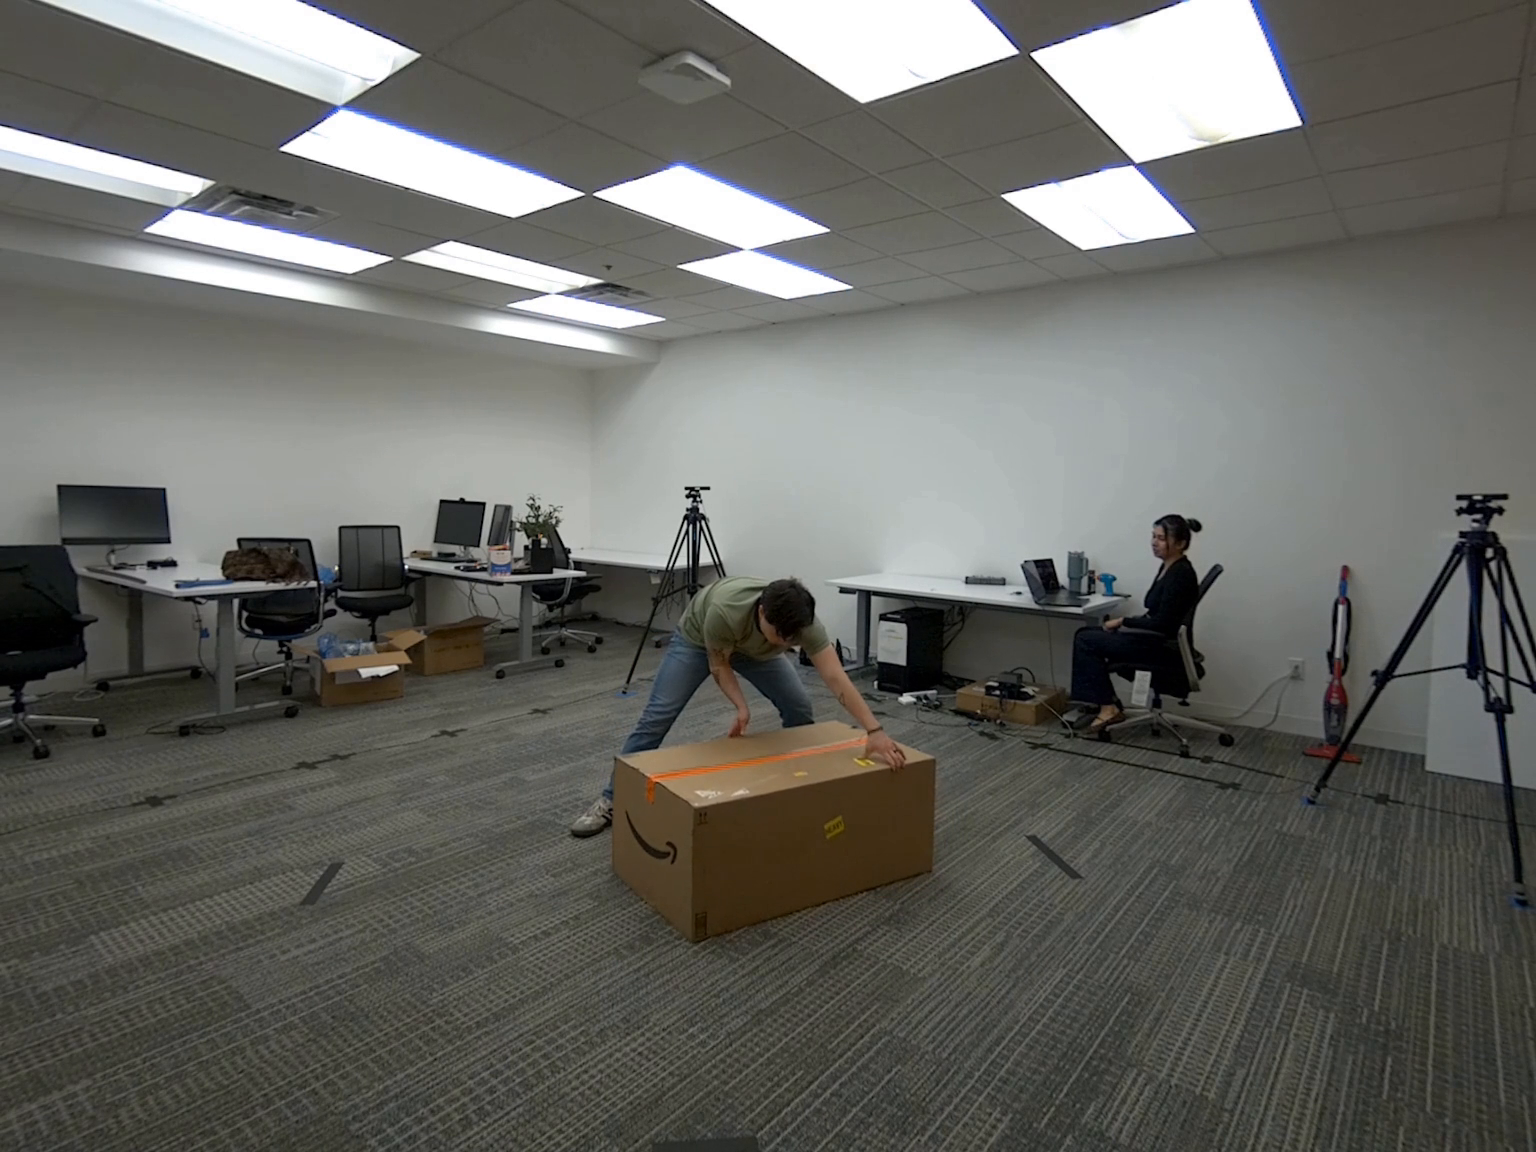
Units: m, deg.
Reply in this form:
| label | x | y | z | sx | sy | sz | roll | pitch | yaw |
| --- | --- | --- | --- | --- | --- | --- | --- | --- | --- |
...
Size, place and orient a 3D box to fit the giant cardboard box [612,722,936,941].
| label | x | y | z | sx | sy | sz | roll | pitch | yaw |
| --- | --- | --- | --- | --- | --- | --- | --- | --- | --- |
| giant cardboard box | 0.022 | 0.860 | 3.068 | 0.997 | 0.424 | 0.596 | -2 | 6 | -34 |
